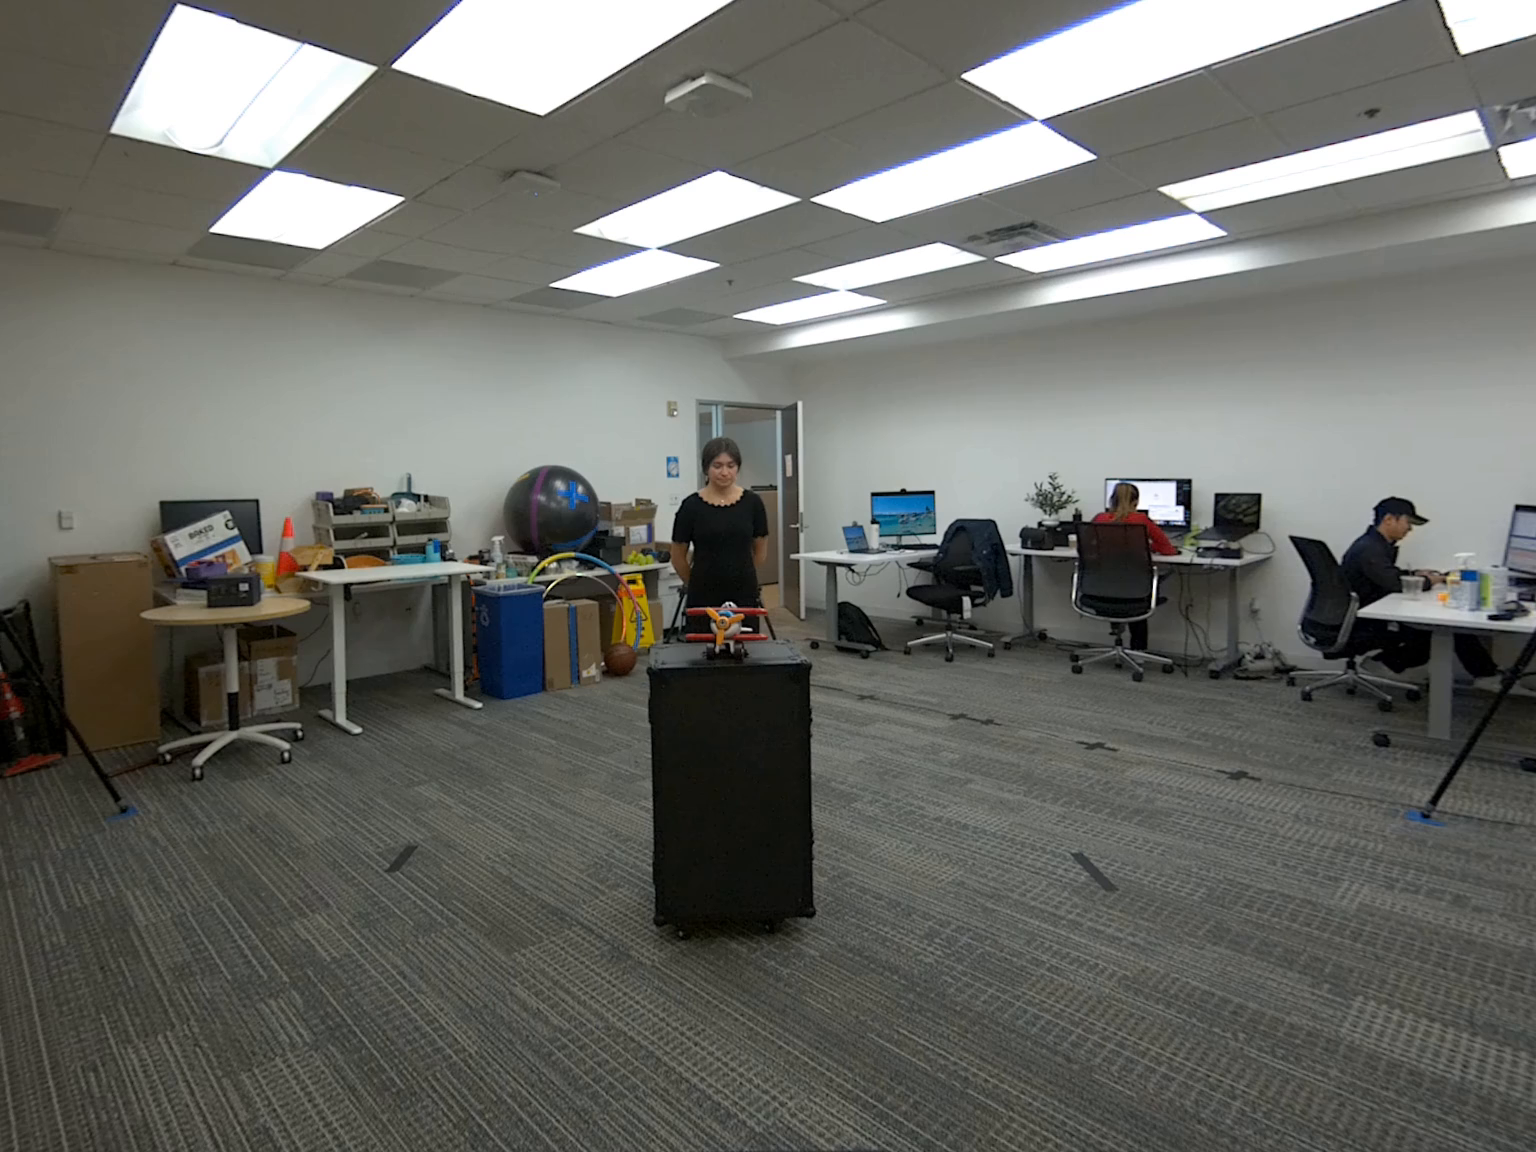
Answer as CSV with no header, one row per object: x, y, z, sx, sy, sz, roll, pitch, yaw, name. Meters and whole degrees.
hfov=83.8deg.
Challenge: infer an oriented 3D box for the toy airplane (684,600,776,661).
-0.145,0.172,2.685,0.246,0.156,0.265,-2,6,-22,toy airplane
